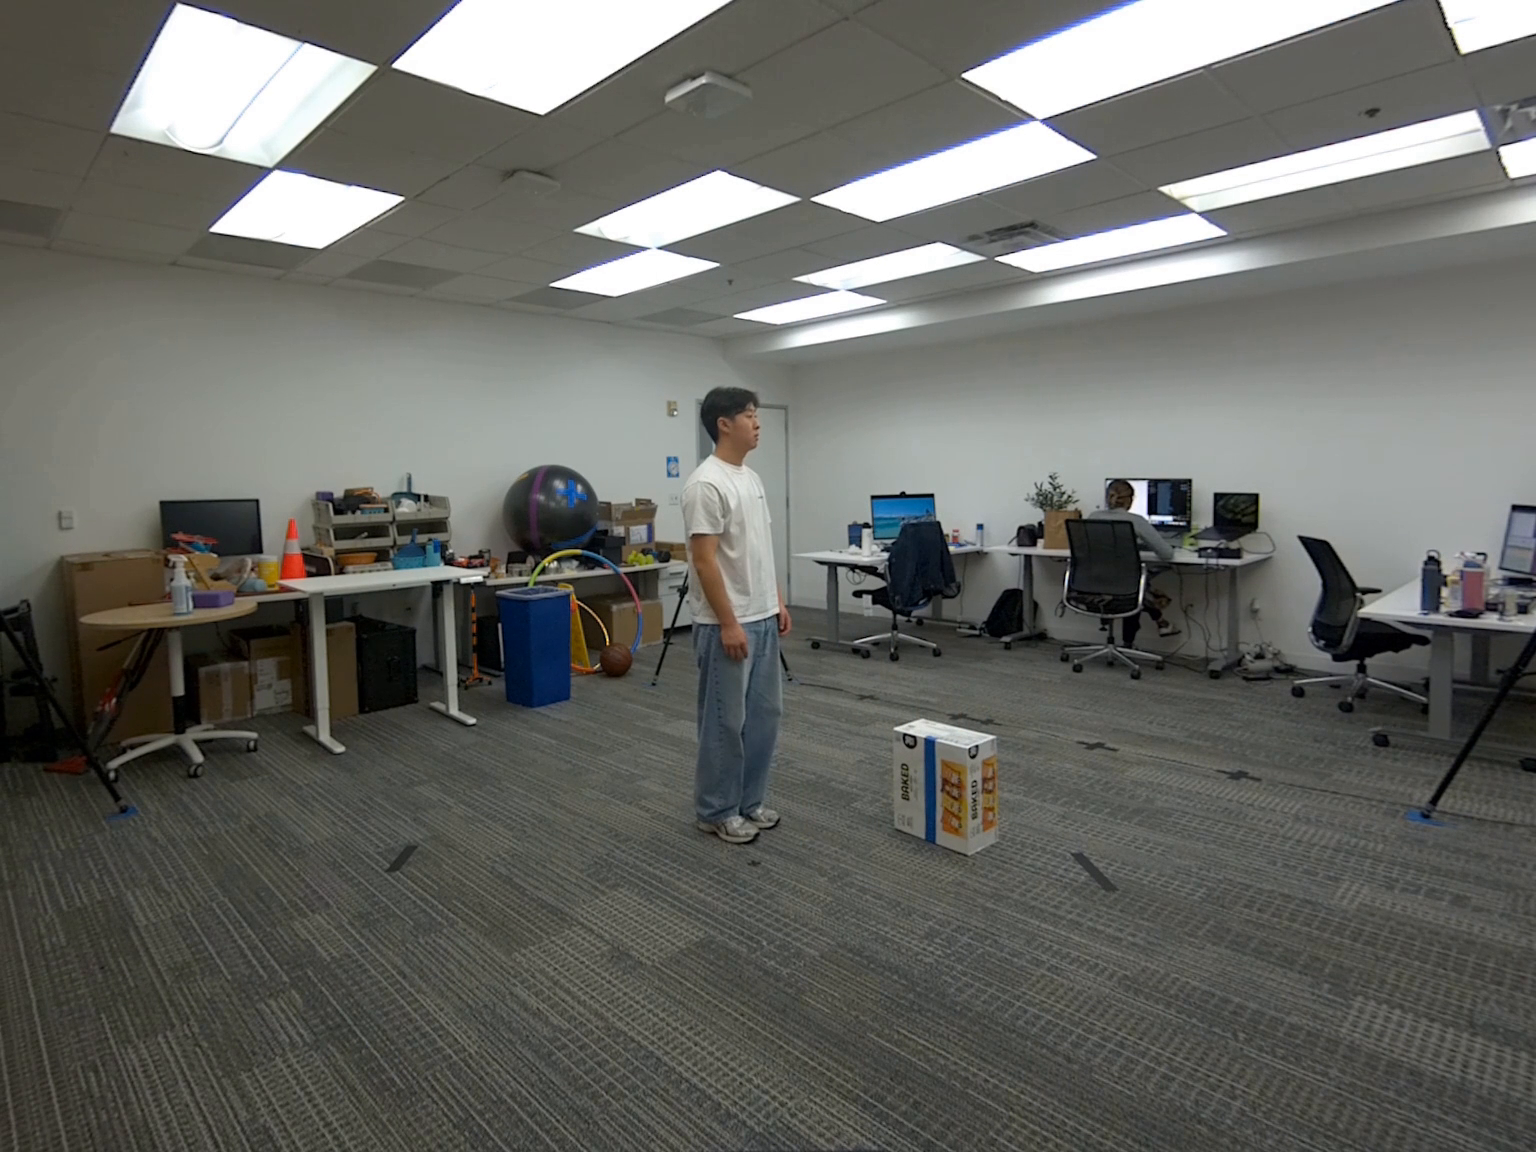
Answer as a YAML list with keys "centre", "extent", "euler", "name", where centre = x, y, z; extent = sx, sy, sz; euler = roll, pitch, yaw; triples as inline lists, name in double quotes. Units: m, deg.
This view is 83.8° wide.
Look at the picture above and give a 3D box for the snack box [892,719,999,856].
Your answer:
- centre: [0.683, 0.803, 3.311]
  extent: [0.200, 0.404, 0.351]
  euler: [-5, 6, -42]
  name: "snack box"
